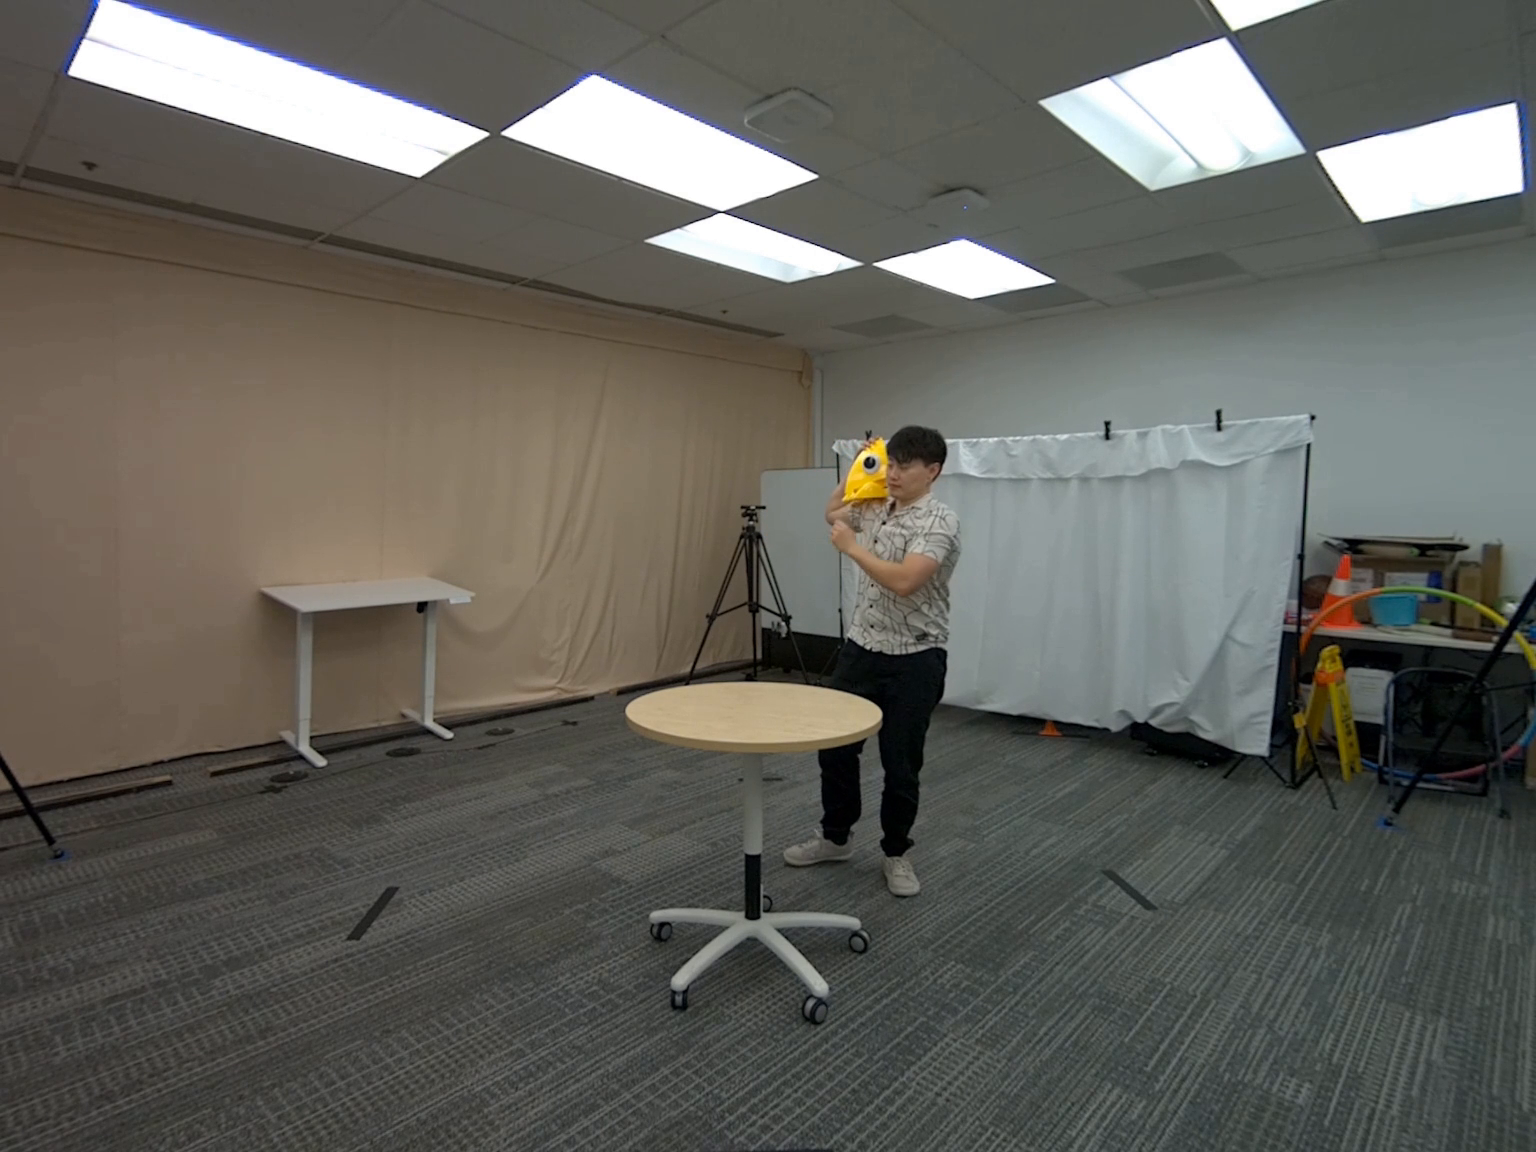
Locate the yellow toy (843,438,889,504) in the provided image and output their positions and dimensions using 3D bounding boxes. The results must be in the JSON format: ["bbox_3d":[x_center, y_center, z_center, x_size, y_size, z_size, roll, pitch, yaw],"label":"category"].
[{"bbox_3d":[0.383,-0.409,3.217,0.191,0.231,0.206,-3,0,-9],"label":"yellow toy"}]
